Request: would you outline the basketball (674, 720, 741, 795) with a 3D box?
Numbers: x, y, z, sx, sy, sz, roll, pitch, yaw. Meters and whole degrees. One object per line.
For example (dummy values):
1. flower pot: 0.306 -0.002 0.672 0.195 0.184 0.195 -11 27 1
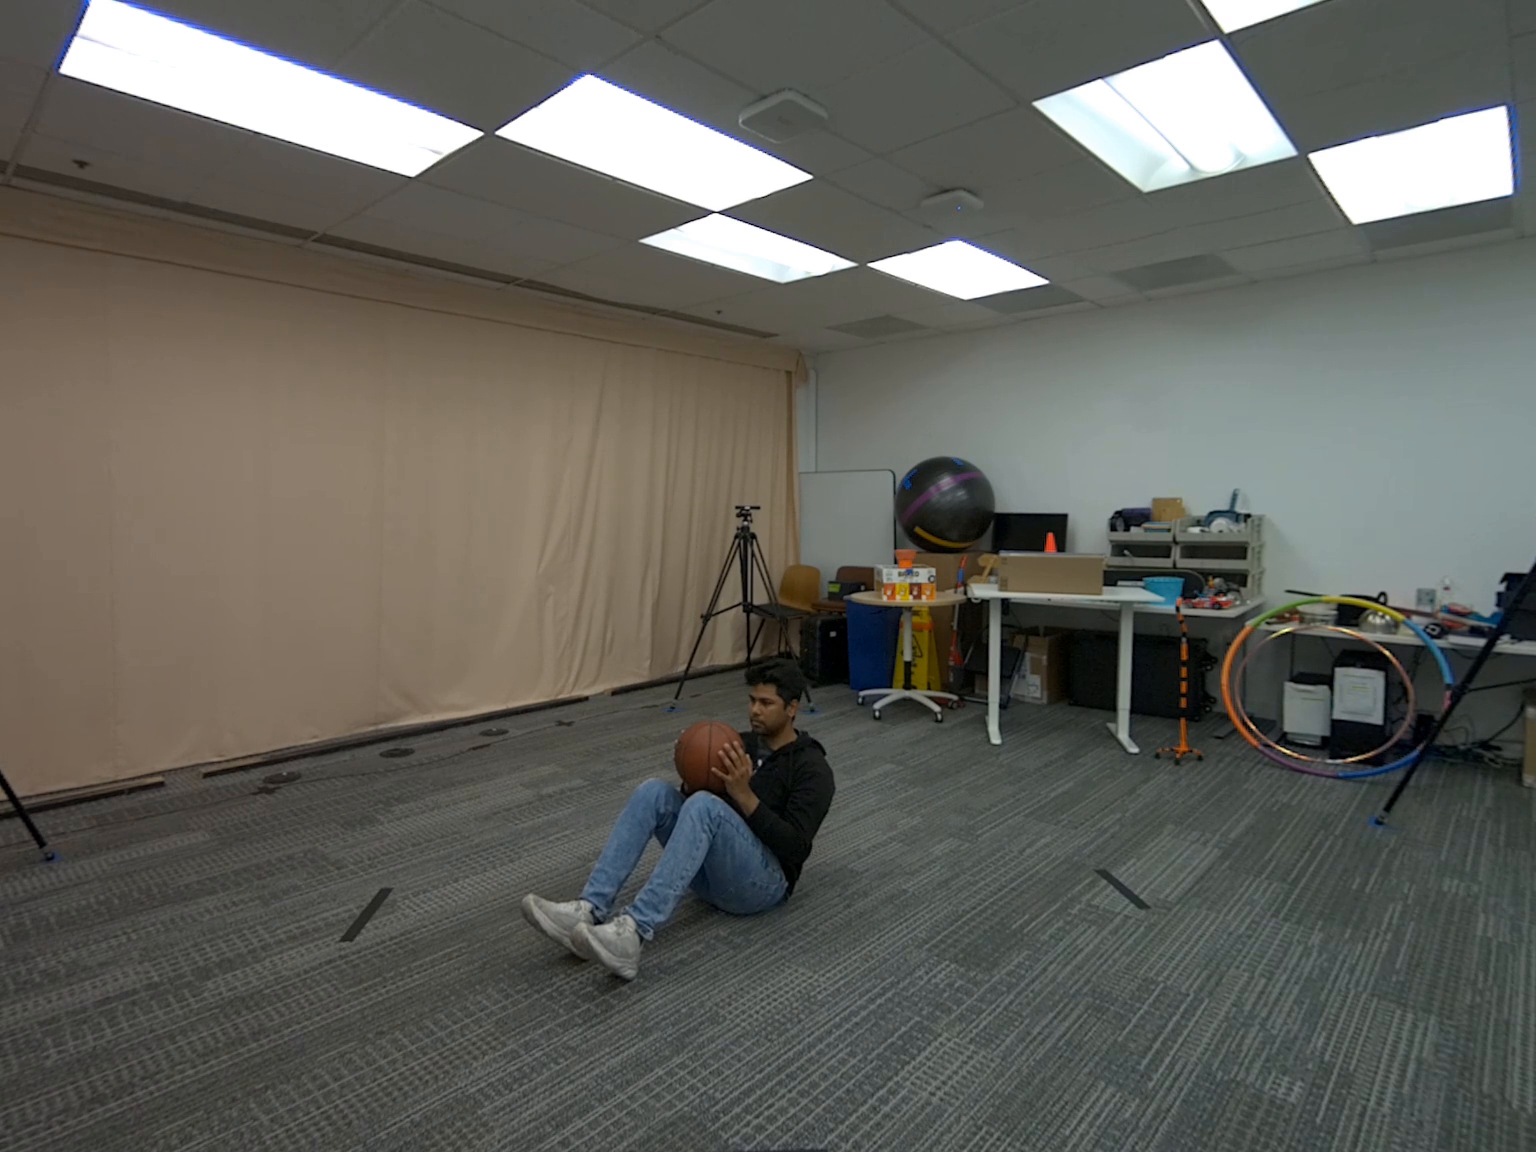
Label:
1. basketball: -0.184 0.594 2.821 0.236 0.235 0.237 0 4 -2
